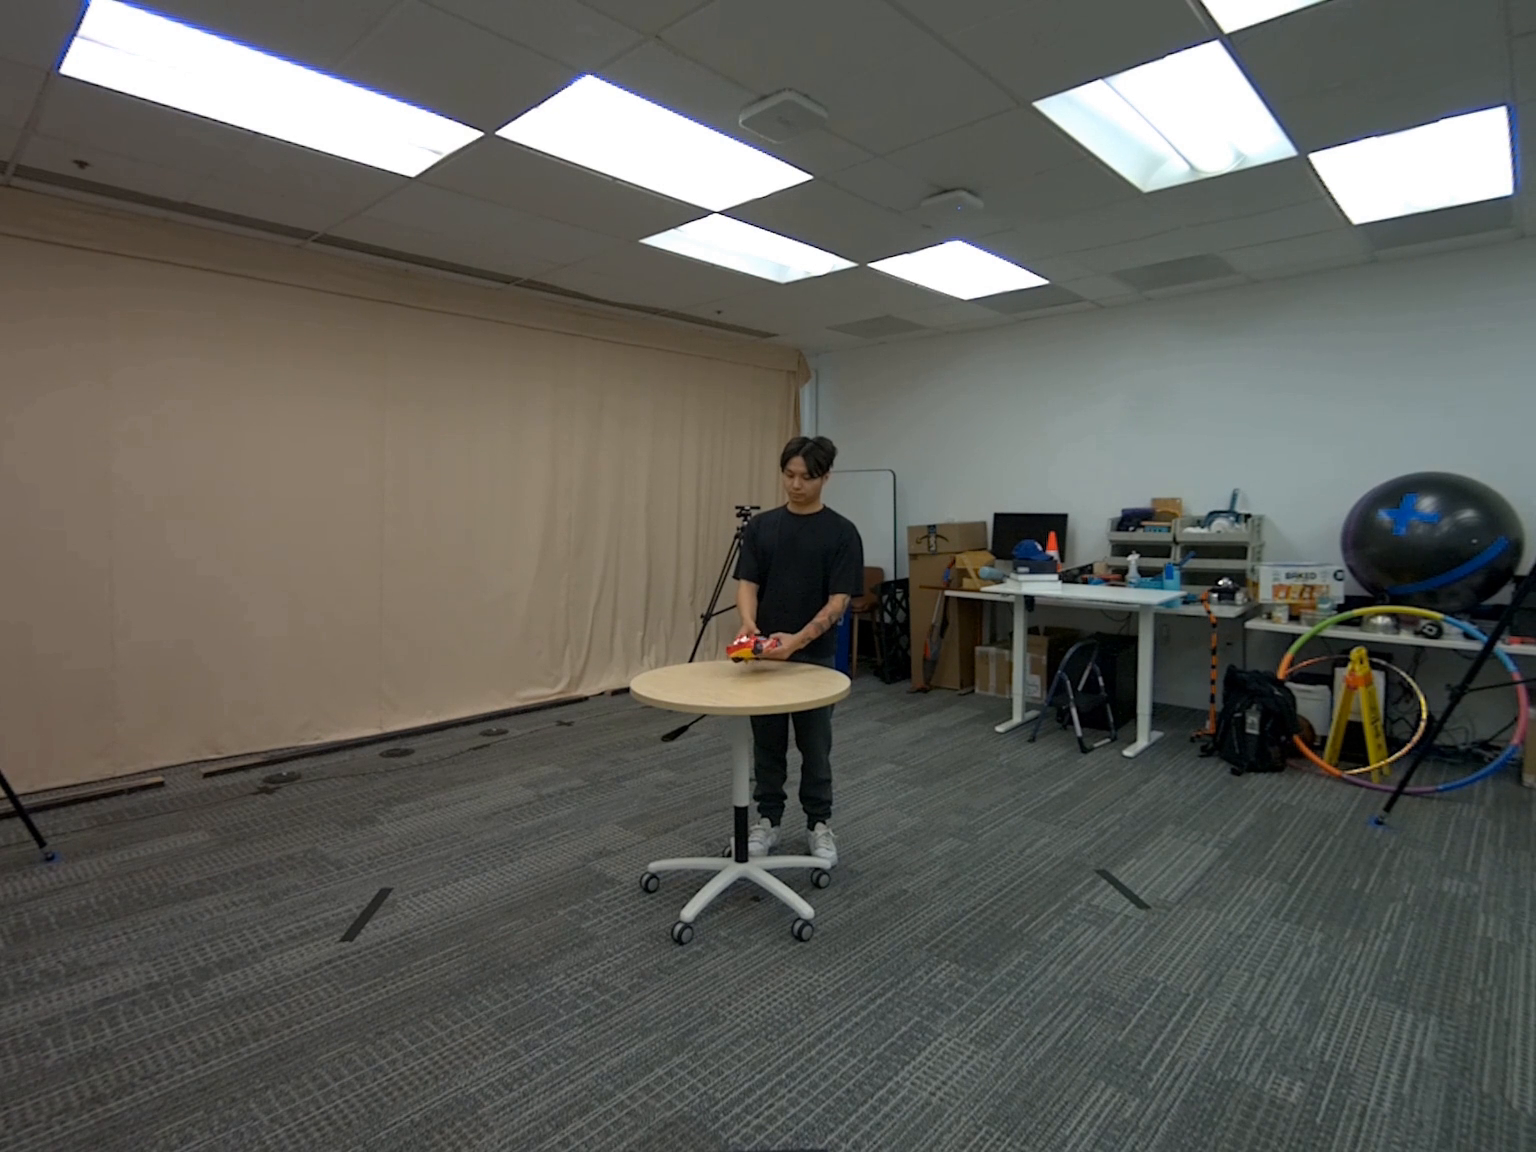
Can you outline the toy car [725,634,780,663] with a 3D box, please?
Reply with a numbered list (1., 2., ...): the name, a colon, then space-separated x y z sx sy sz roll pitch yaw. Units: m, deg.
1. toy car: -0.052 0.264 3.027 0.133 0.085 0.245 -24 -27 30
